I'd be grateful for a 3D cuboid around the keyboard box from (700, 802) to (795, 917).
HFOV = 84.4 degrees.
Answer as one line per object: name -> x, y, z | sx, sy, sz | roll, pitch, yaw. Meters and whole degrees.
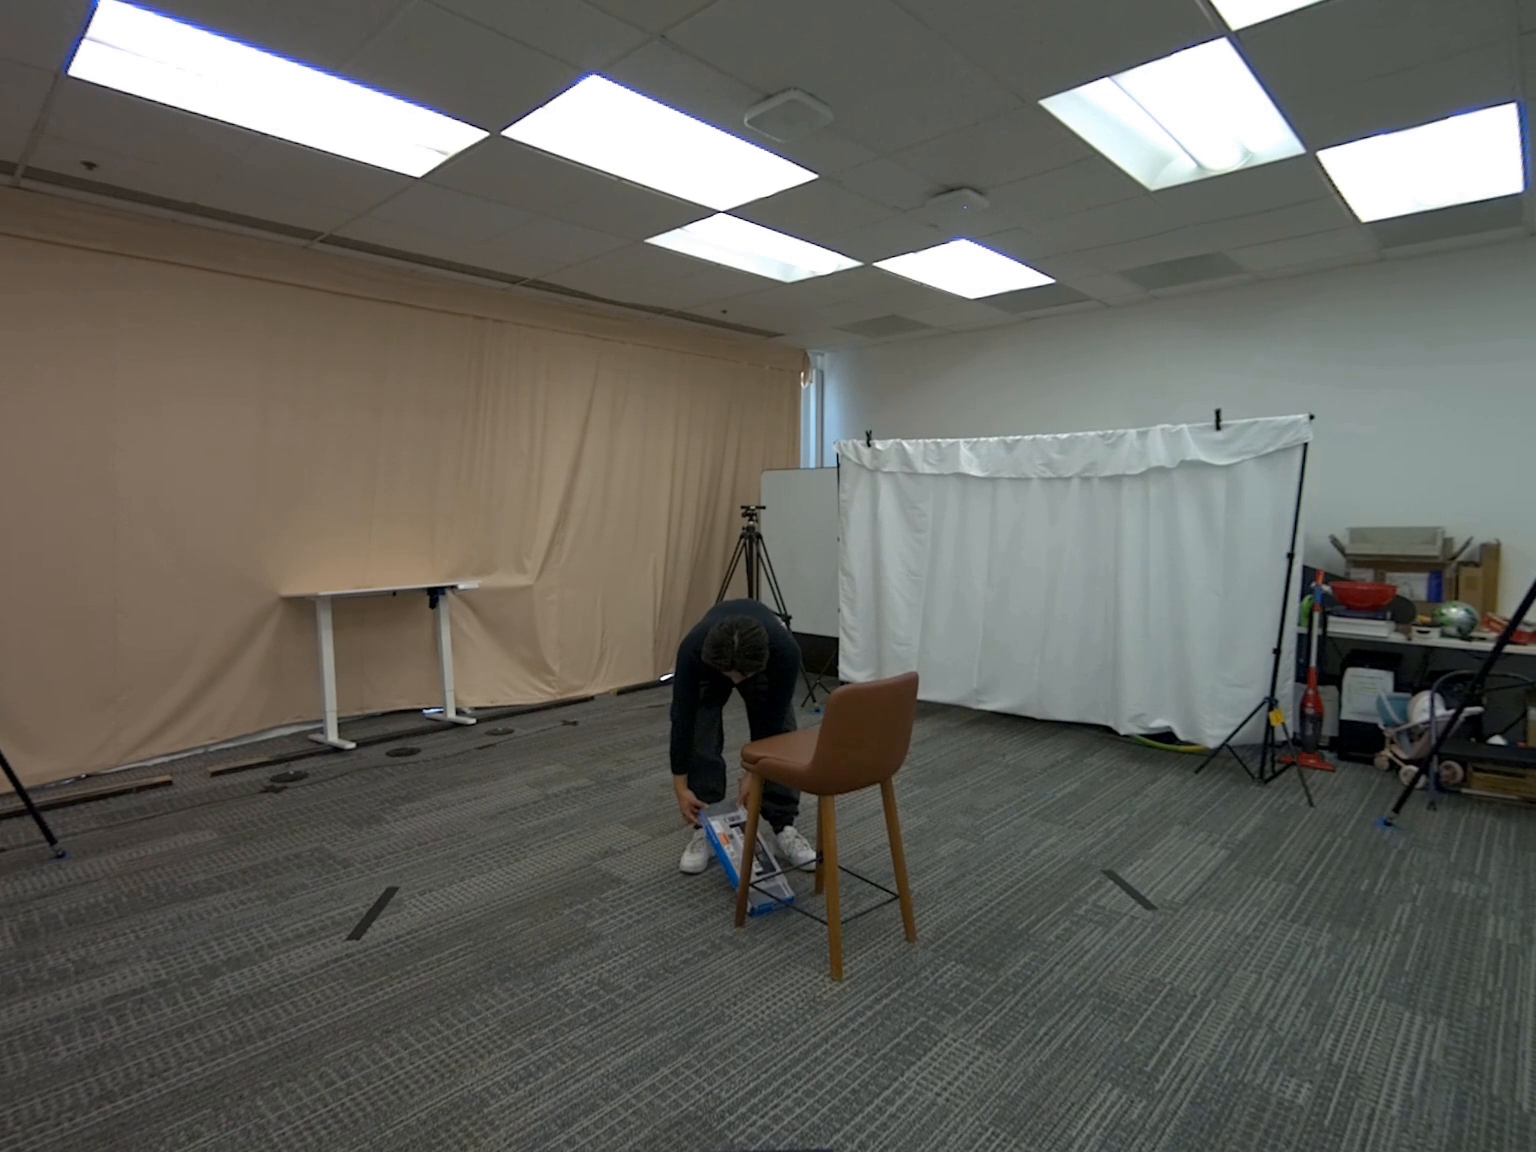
keyboard box -> -0.082, 1.001, 3.033 | 0.171, 0.059, 0.452 | -2, 36, -30
